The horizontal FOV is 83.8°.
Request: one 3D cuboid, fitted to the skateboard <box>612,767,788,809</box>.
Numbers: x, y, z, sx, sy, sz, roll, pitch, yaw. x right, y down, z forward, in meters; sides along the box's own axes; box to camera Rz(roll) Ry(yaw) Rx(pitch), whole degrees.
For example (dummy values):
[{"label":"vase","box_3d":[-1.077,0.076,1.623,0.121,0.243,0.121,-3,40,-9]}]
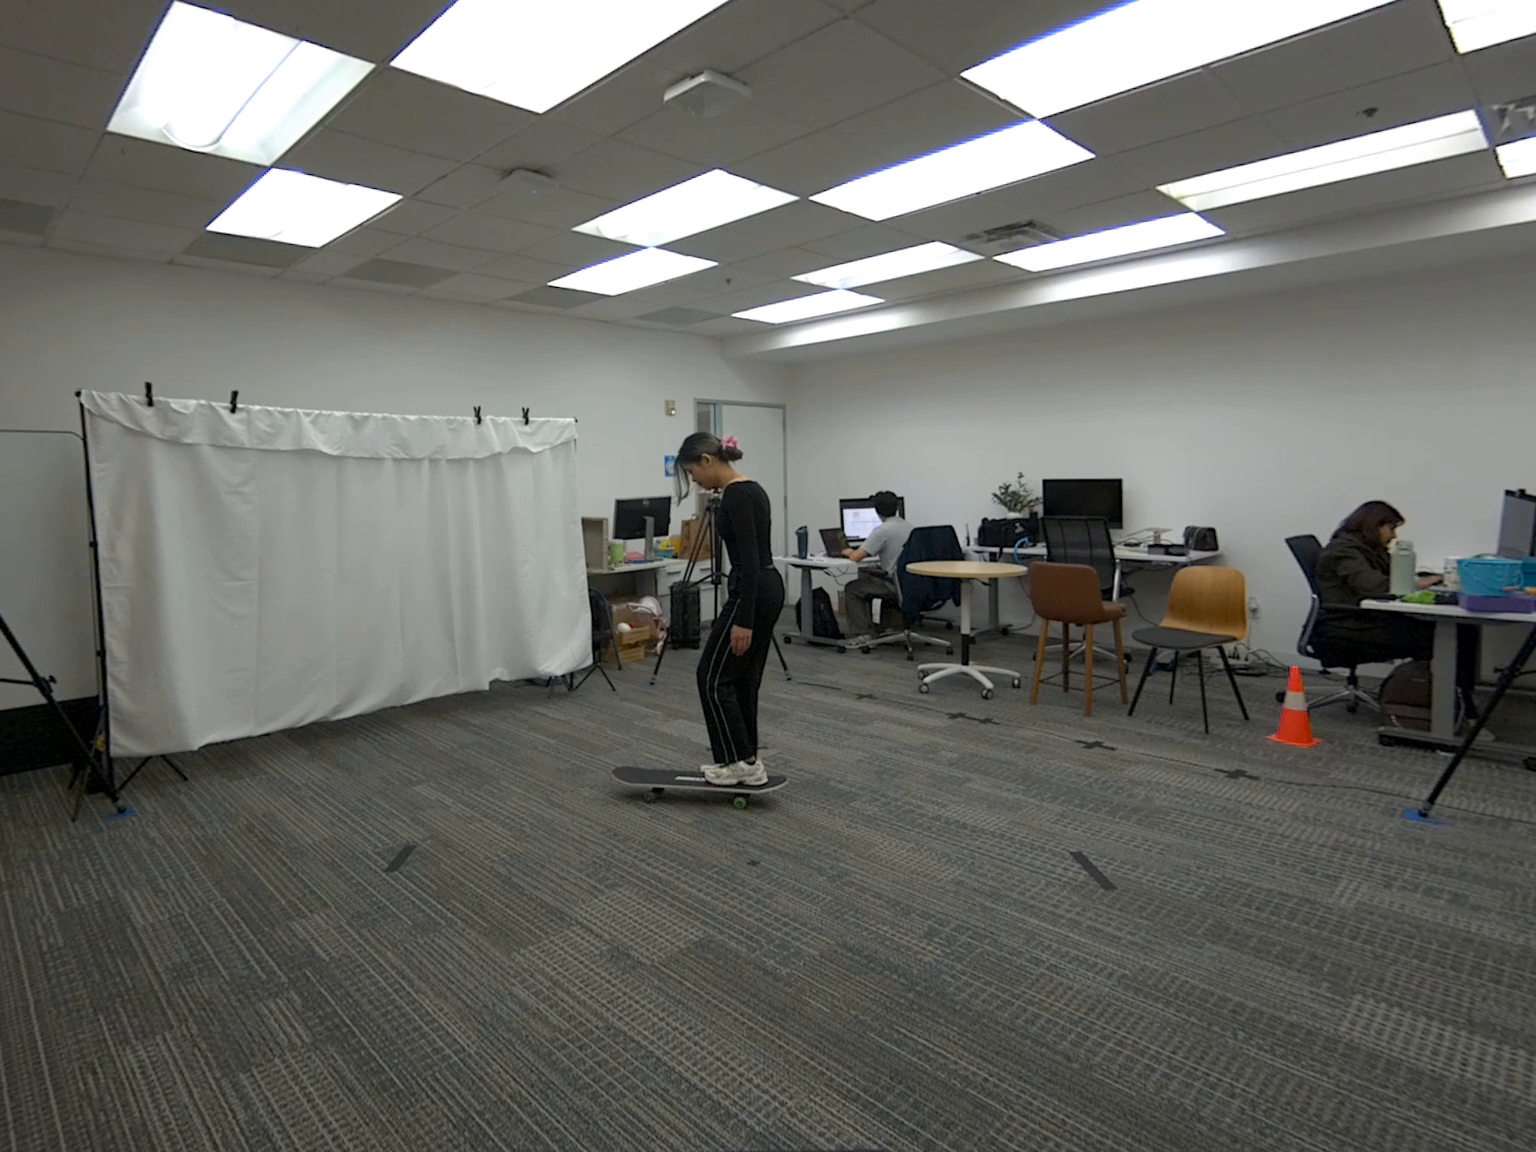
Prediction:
[{"label":"skateboard","box_3d":[-0.306,0.919,3.737,0.795,0.110,0.192,0,6,12]}]
